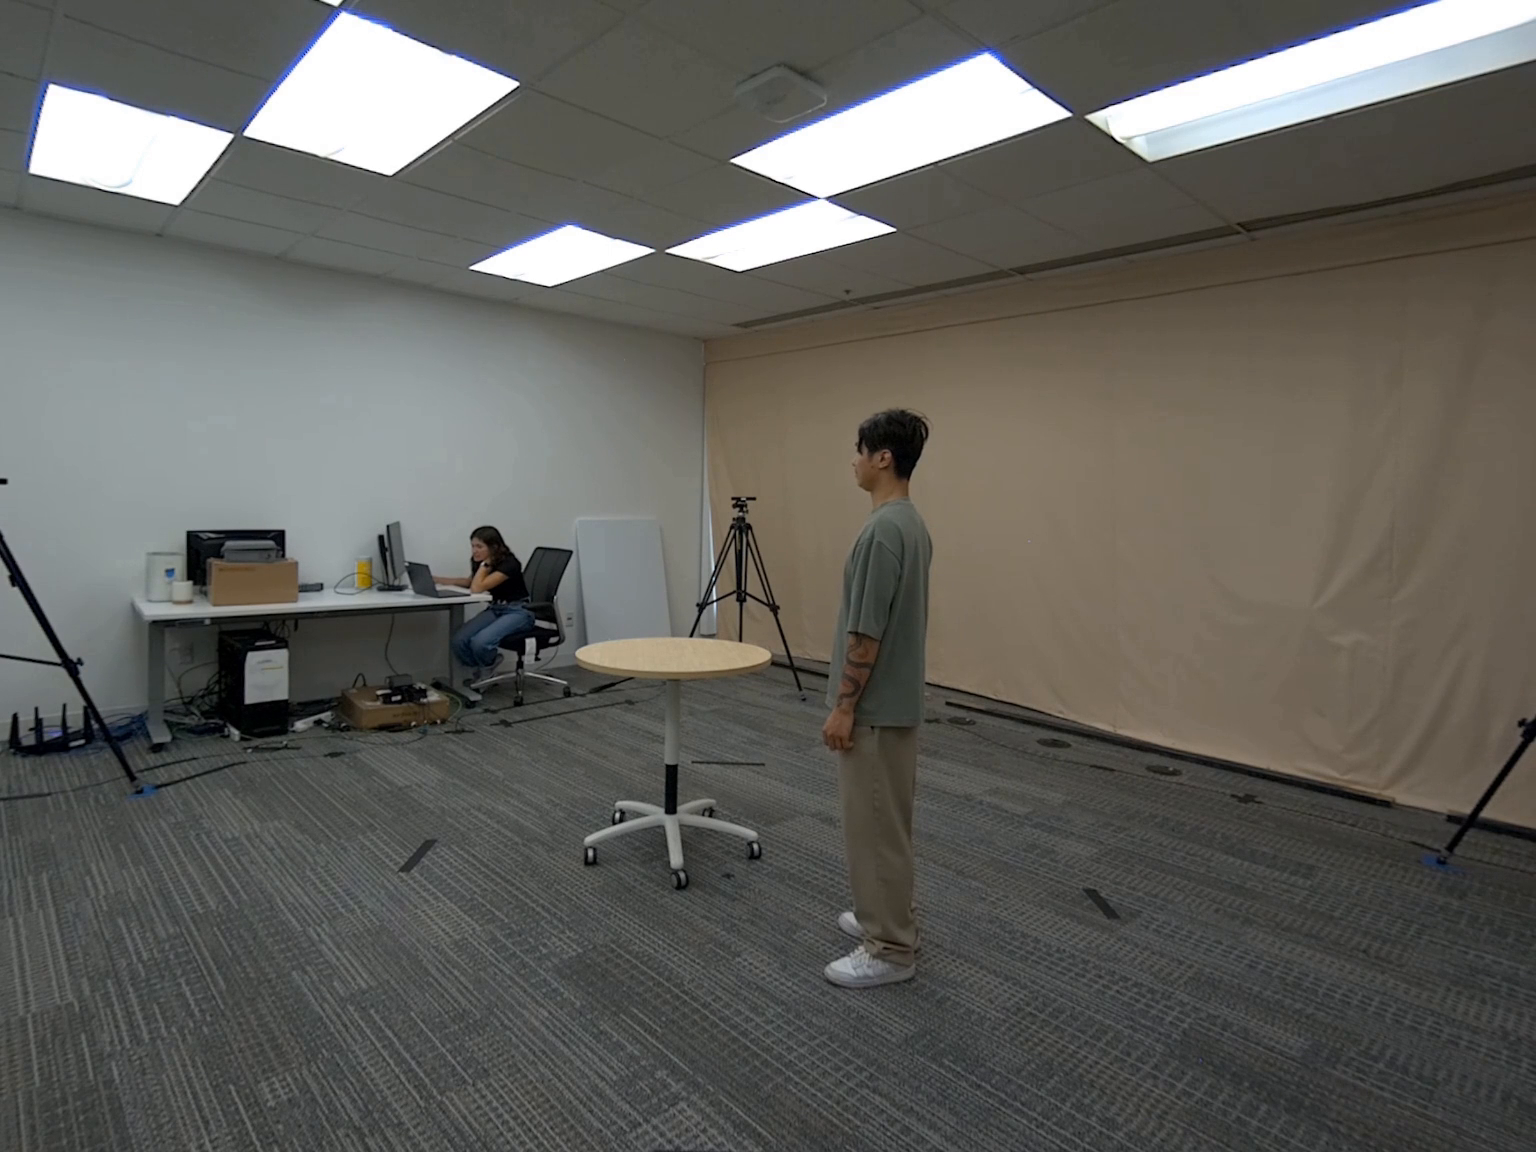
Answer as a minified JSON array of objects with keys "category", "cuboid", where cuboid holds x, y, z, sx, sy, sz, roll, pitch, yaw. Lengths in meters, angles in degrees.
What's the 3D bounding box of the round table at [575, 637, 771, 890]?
[{"category":"round table","cuboid":[-0.376,0.688,3.332,0.784,0.784,0.787,1,4,-1]}]
